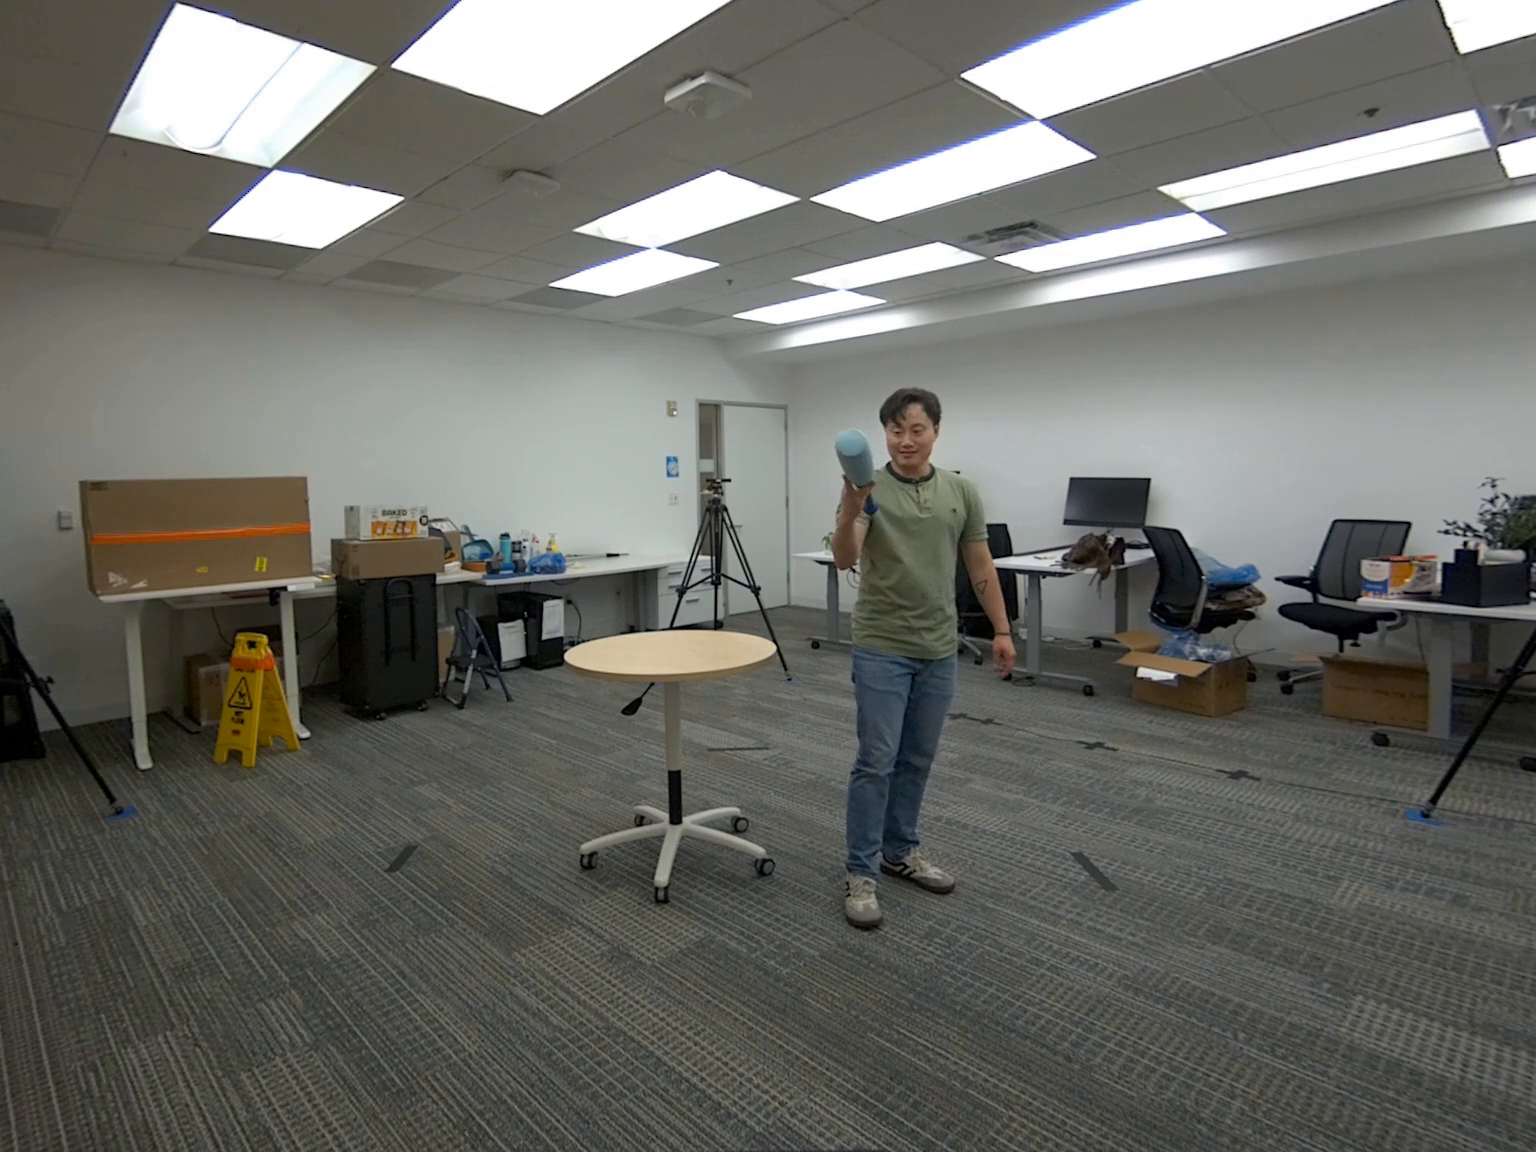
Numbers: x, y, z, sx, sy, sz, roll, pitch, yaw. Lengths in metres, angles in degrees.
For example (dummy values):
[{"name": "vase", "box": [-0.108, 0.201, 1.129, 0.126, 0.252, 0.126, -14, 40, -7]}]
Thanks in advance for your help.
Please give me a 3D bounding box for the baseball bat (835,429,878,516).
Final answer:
[{"name": "baseball bat", "box": [0.274, -0.278, 2.463, 0.090, 0.090, 0.528, 1, -15, 13]}]
